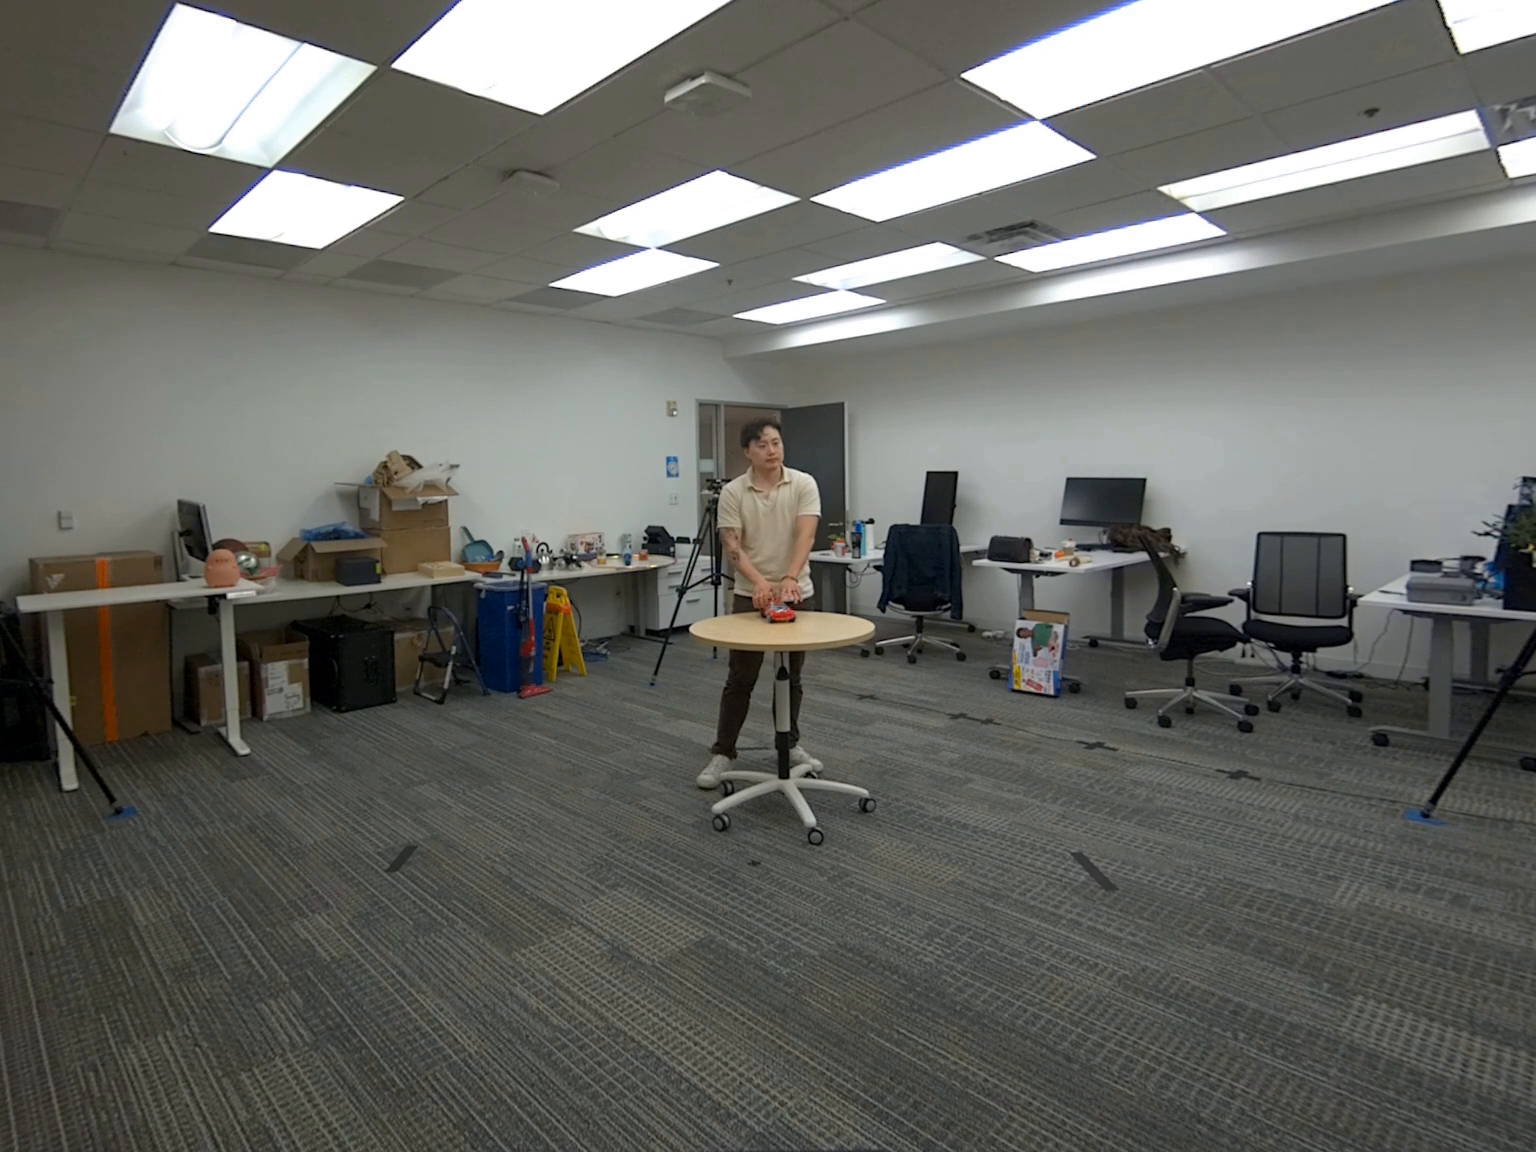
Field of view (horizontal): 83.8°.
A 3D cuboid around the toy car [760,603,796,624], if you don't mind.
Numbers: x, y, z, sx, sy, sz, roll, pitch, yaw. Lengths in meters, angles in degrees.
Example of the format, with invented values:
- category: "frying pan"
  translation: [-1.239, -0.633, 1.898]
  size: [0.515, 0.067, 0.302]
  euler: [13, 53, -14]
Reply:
- category: "toy car"
  translation: [0.033, 0.159, 3.733]
  size: [0.129, 0.082, 0.260]
  euler: [-3, 17, -10]
